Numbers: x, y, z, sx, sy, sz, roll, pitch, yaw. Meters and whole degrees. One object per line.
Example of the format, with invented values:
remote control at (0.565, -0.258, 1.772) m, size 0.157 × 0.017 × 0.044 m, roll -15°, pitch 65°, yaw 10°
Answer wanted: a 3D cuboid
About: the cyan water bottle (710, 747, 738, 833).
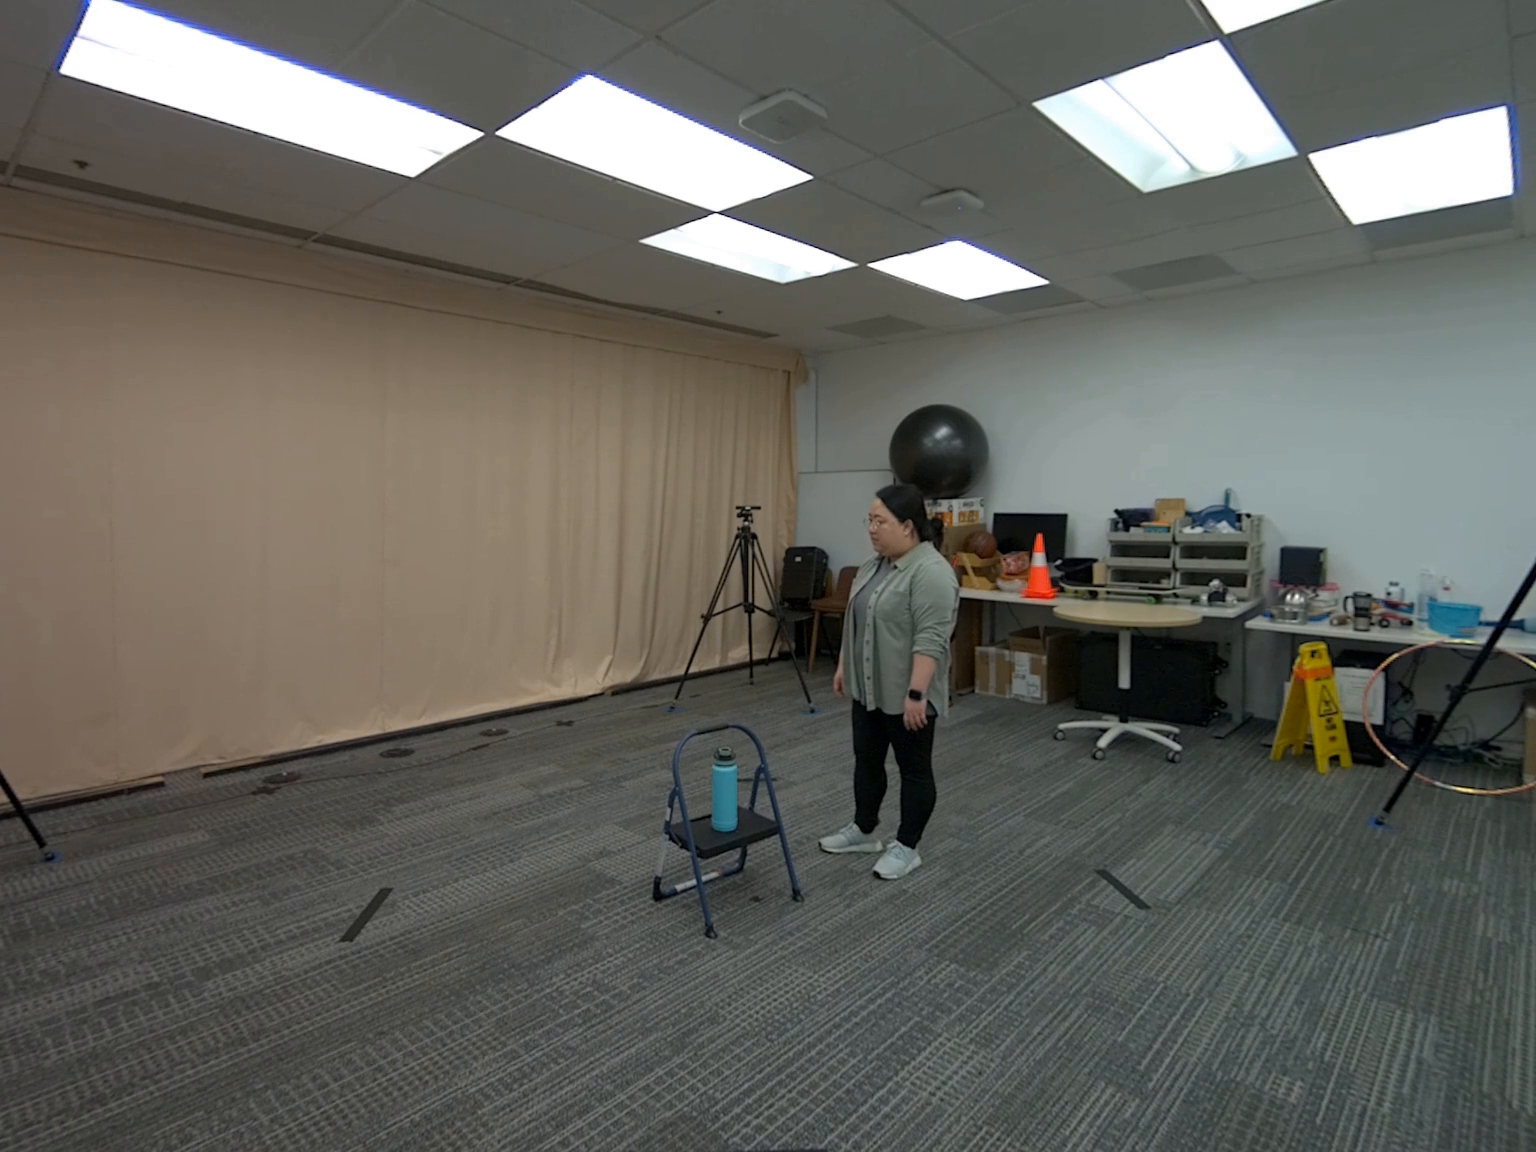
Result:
cyan water bottle at (-0.153, 0.747, 2.957) m, size 0.092 × 0.282 × 0.093 m, roll 0°, pitch 4°, yaw -2°
